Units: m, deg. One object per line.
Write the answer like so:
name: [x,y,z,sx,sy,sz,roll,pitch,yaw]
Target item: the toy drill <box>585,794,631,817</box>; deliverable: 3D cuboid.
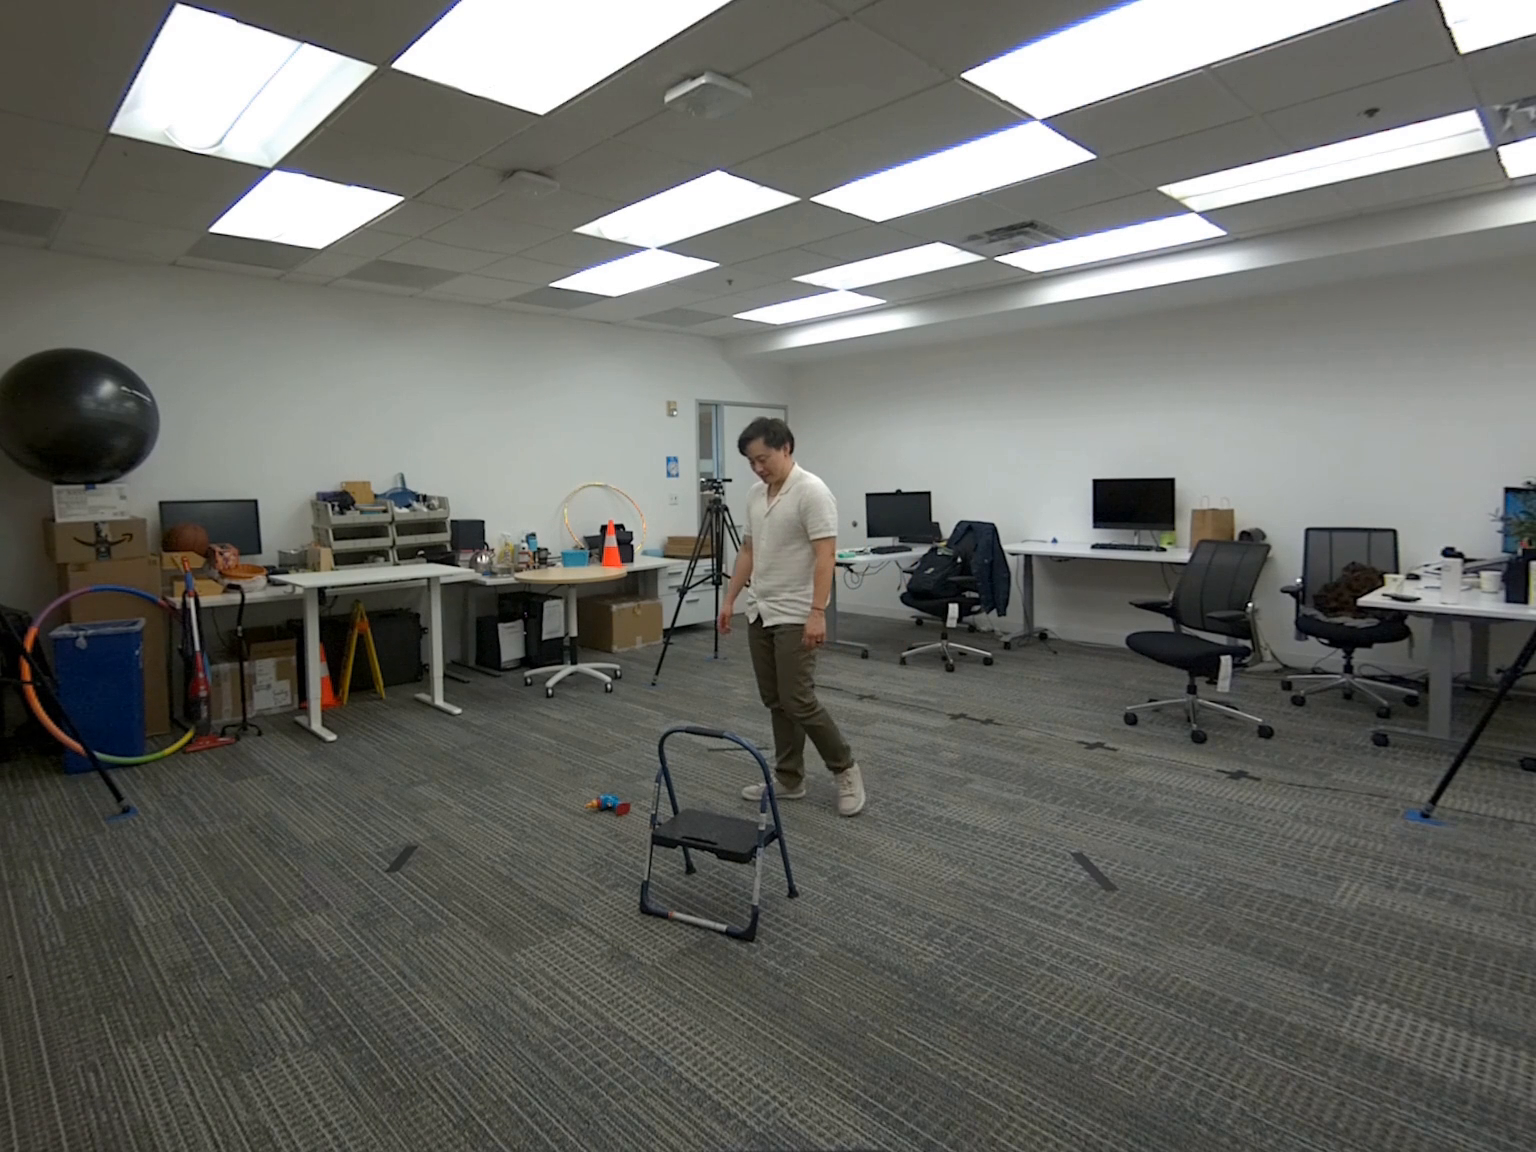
toy drill: [-0.684,0.970,3.621,0.165,0.061,0.150,2,4,-41]
